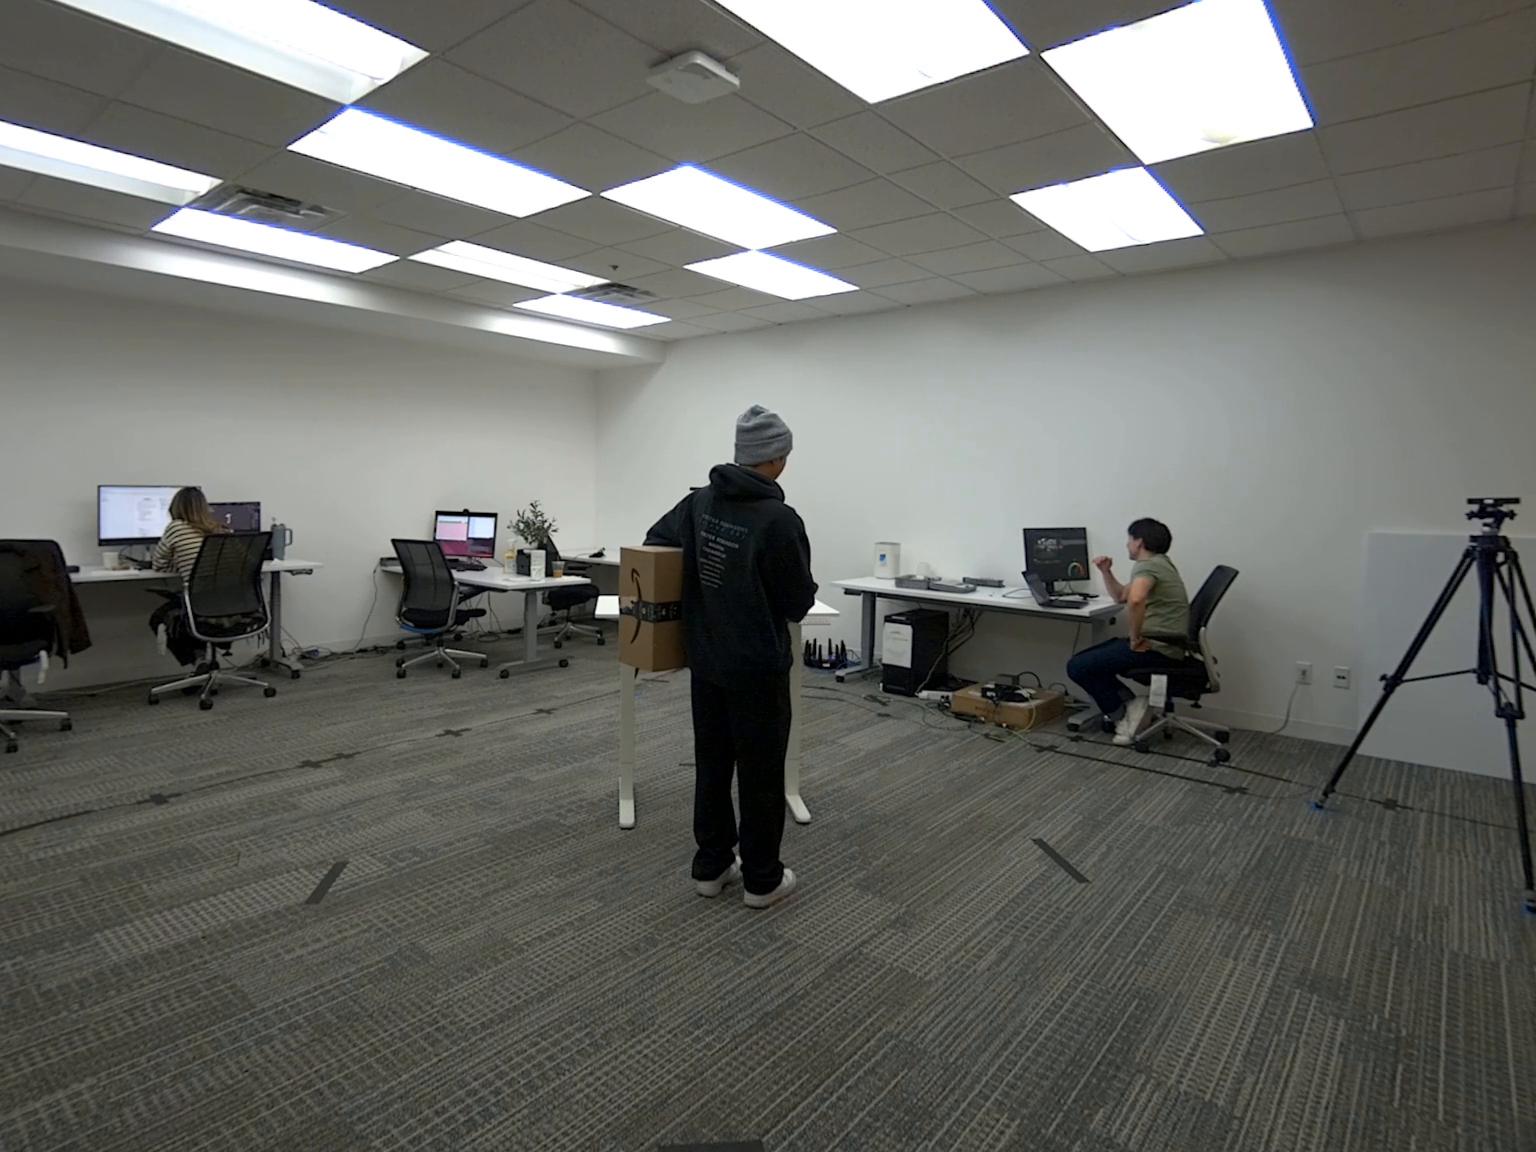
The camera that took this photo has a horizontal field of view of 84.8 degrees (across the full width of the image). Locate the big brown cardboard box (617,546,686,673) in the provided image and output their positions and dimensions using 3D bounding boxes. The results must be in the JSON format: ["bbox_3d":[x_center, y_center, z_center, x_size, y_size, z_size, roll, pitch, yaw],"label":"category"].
[{"bbox_3d":[-0.262,0.098,3.133,0.571,0.416,0.241,-2,5,-42],"label":"big brown cardboard box"}]
